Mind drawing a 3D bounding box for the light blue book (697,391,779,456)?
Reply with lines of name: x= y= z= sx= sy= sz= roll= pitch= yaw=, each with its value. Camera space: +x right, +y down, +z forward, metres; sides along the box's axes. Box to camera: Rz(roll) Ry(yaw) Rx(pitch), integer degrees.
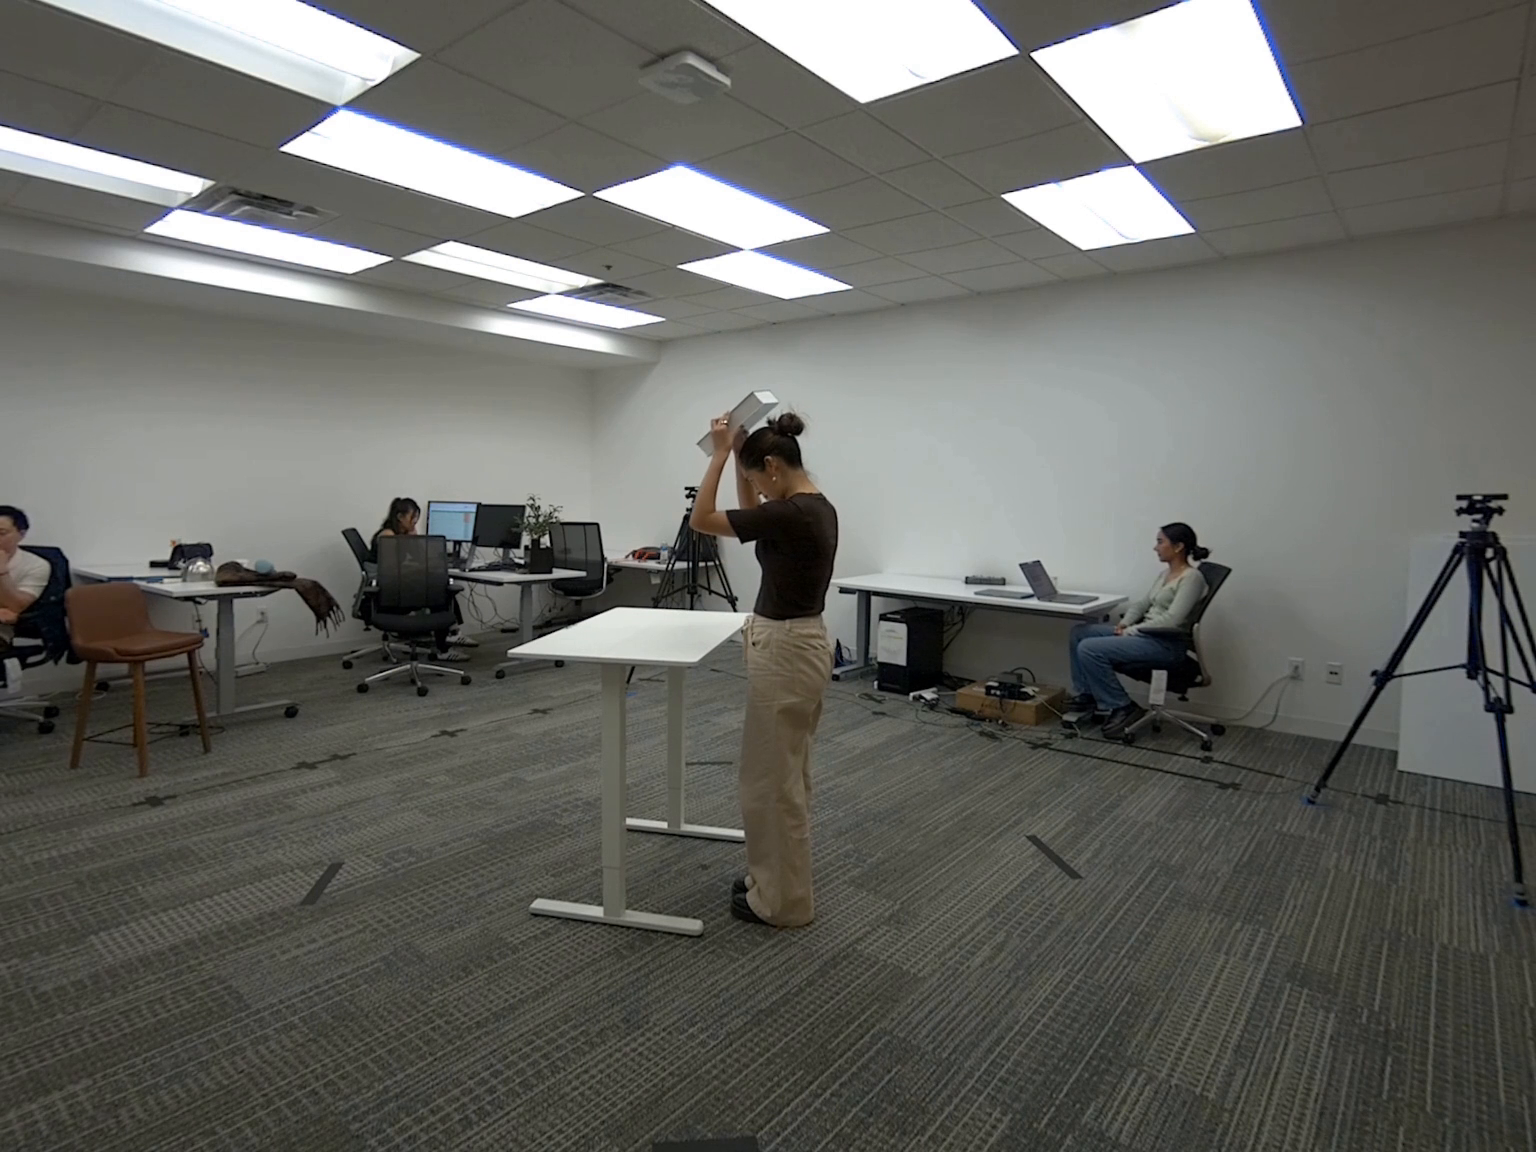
light blue book: x=-0.108 y=-0.501 z=2.777 sx=0.262 sy=0.059 sz=0.190 roll=-40 pitch=0 yaw=21
